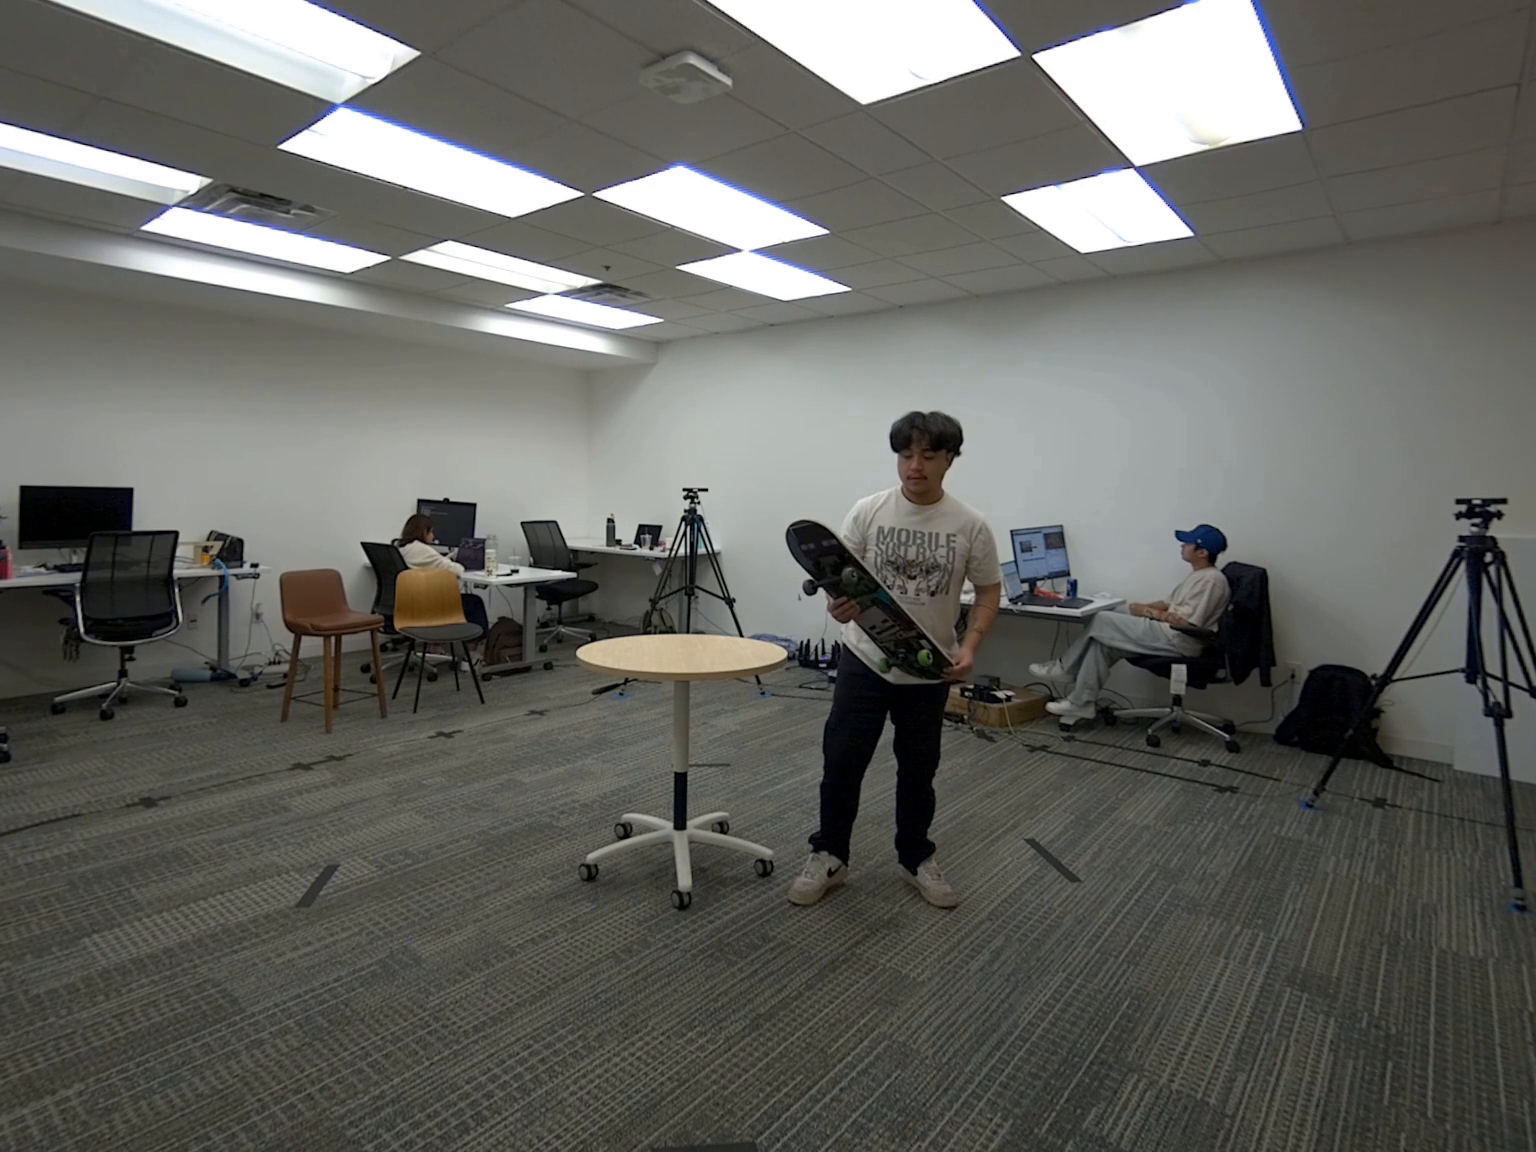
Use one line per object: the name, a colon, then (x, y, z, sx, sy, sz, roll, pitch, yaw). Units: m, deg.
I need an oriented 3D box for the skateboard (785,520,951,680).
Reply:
skateboard: (0.301, 0.124, 2.622, 0.197, 0.763, 0.111, -22, 31, 43)
